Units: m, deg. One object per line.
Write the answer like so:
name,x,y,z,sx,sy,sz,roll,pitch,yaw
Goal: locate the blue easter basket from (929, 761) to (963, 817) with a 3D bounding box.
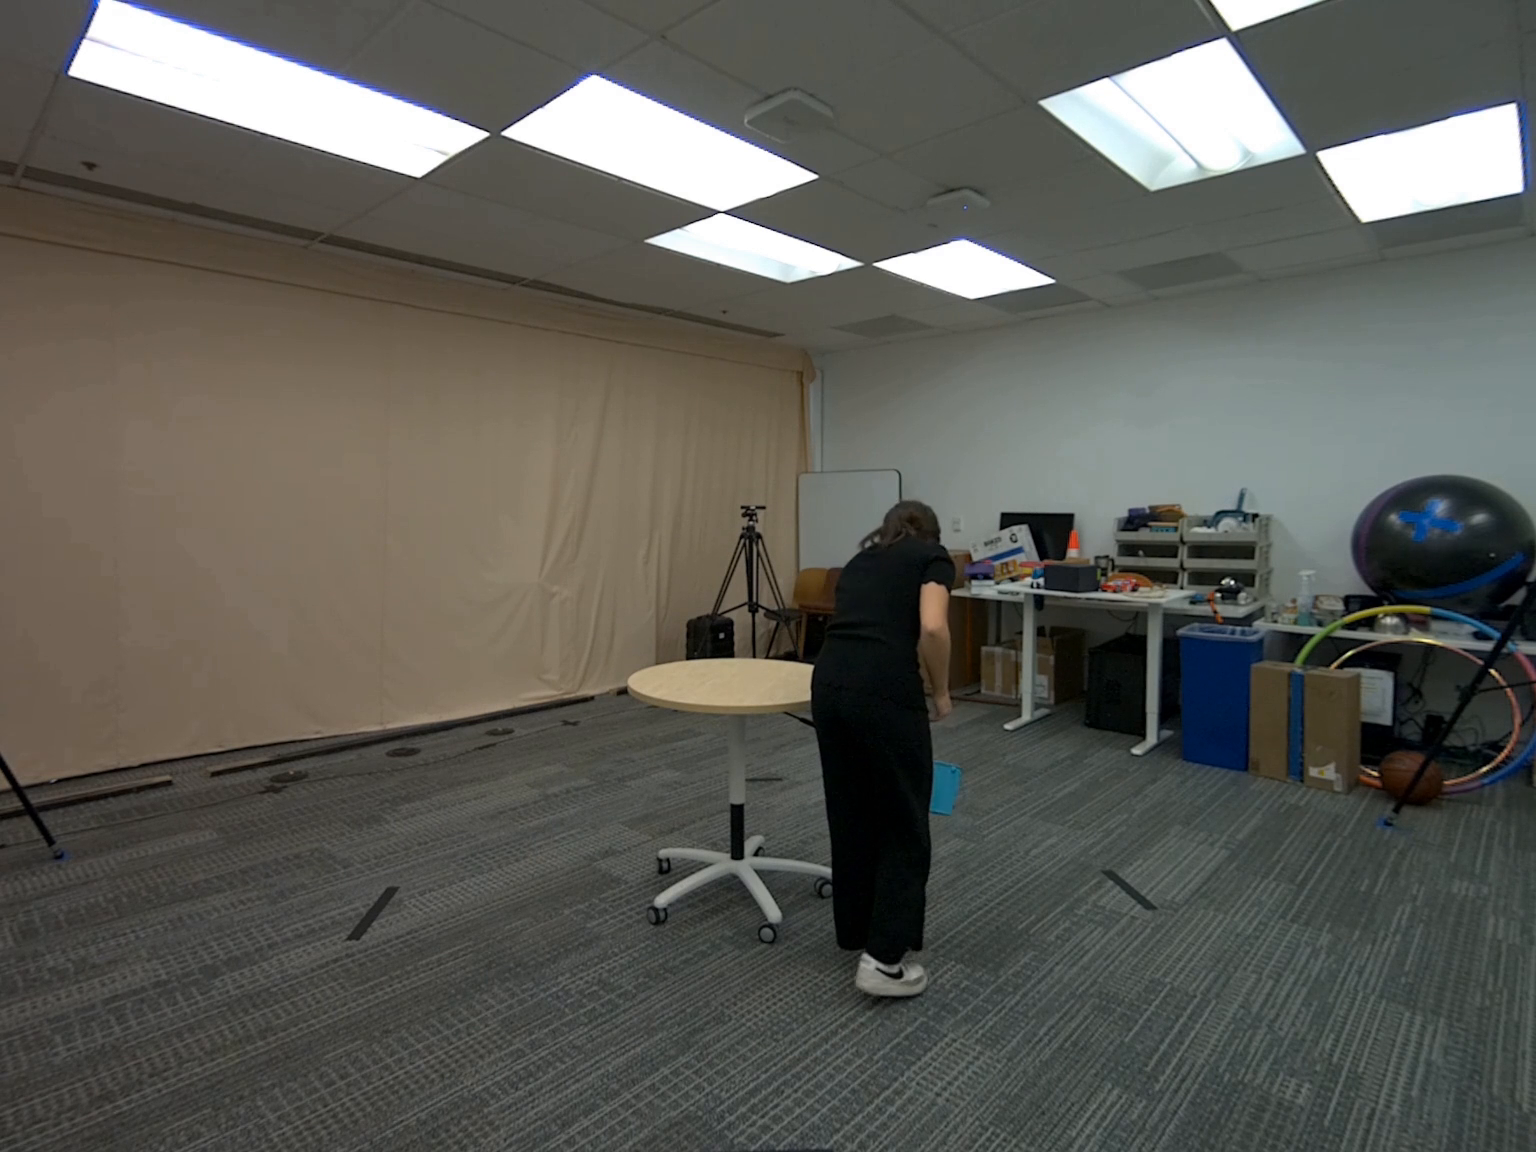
blue easter basket,0.525,0.697,2.748,0.244,0.157,0.241,10,-15,1
